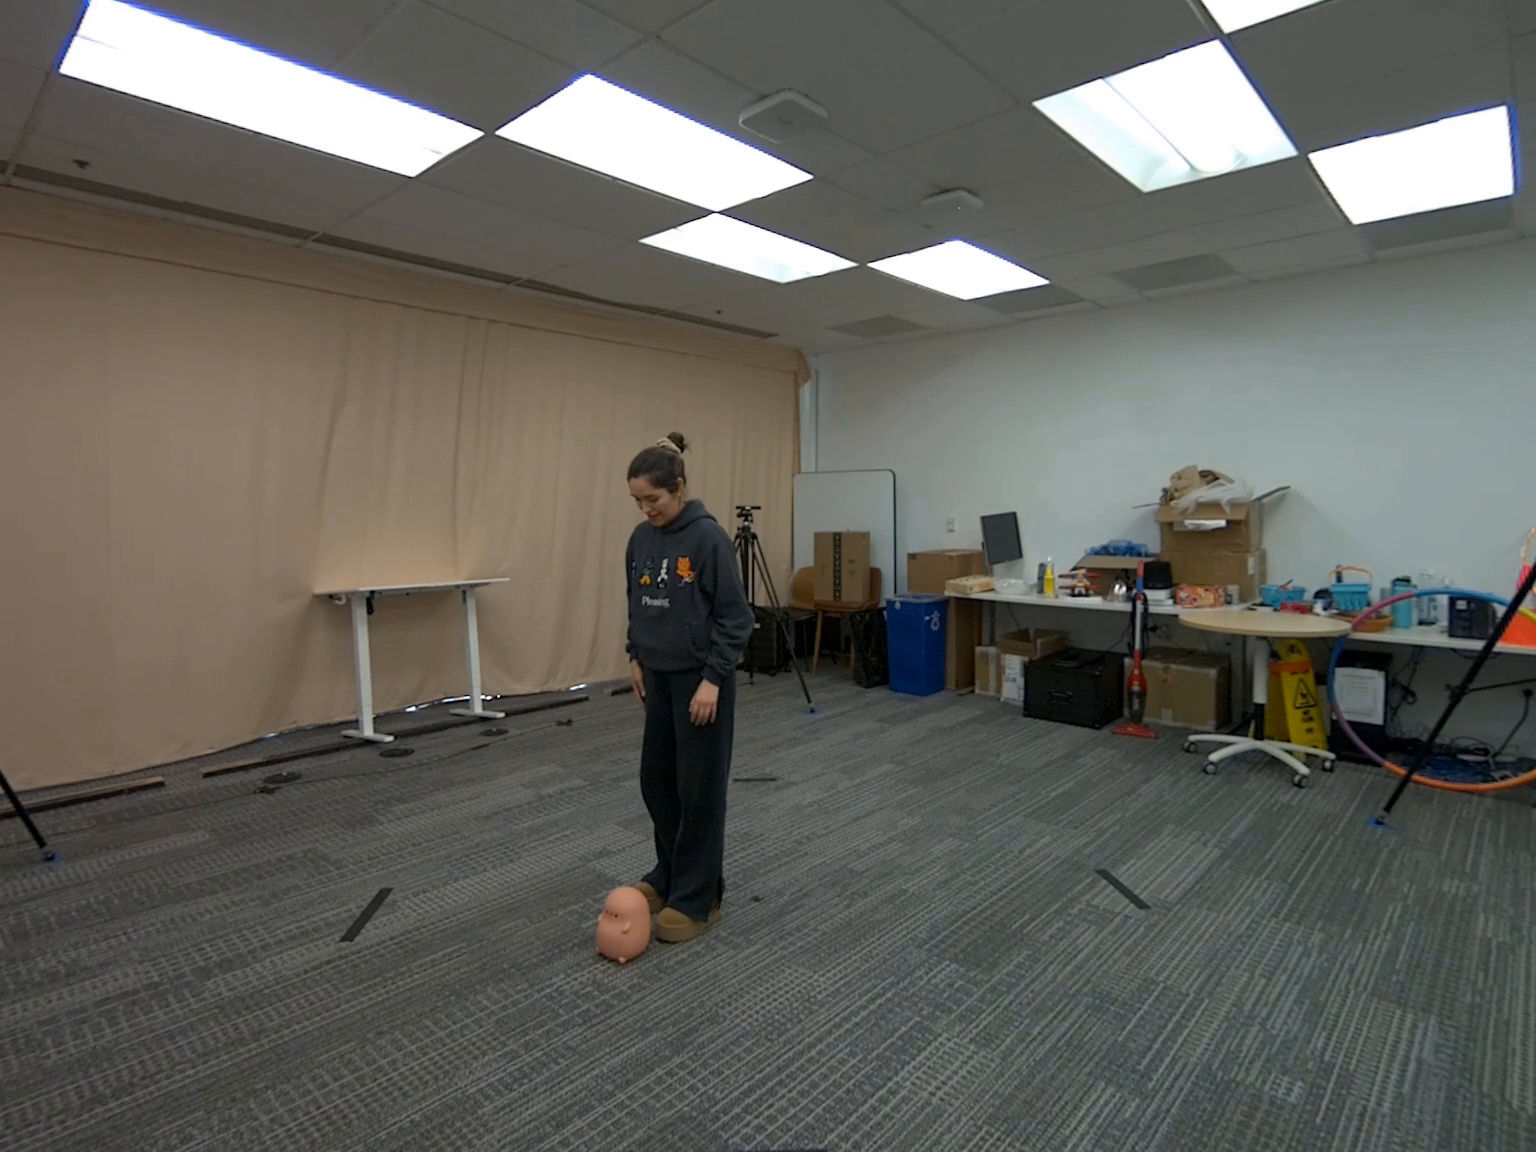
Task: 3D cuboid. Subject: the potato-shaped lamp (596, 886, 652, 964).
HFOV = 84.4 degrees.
[{"bbox_3d":[-0.432,1.079,2.631,0.170,0.197,0.167,5,6,31],"label":"potato-shaped lamp"}]
